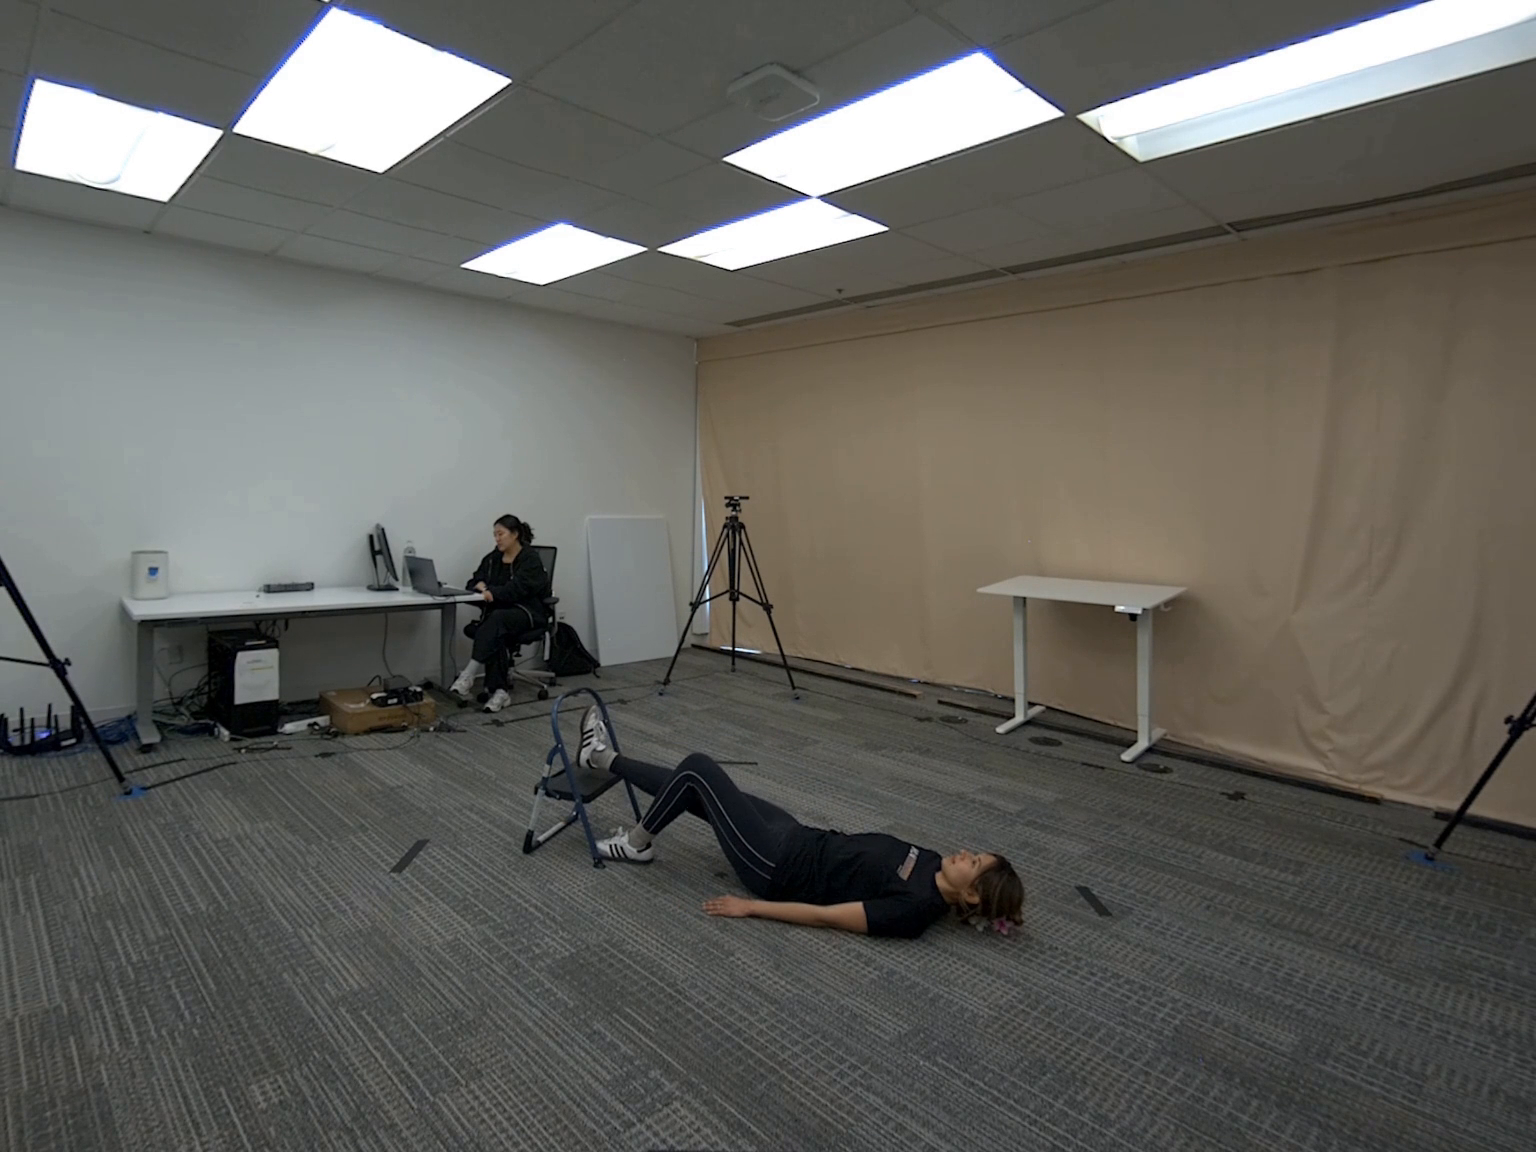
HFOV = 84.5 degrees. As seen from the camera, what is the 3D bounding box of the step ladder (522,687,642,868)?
[{"bbox_3d":[-0.727,0.762,3.375,0.354,0.605,0.426,2,4,16],"label":"step ladder"}]
